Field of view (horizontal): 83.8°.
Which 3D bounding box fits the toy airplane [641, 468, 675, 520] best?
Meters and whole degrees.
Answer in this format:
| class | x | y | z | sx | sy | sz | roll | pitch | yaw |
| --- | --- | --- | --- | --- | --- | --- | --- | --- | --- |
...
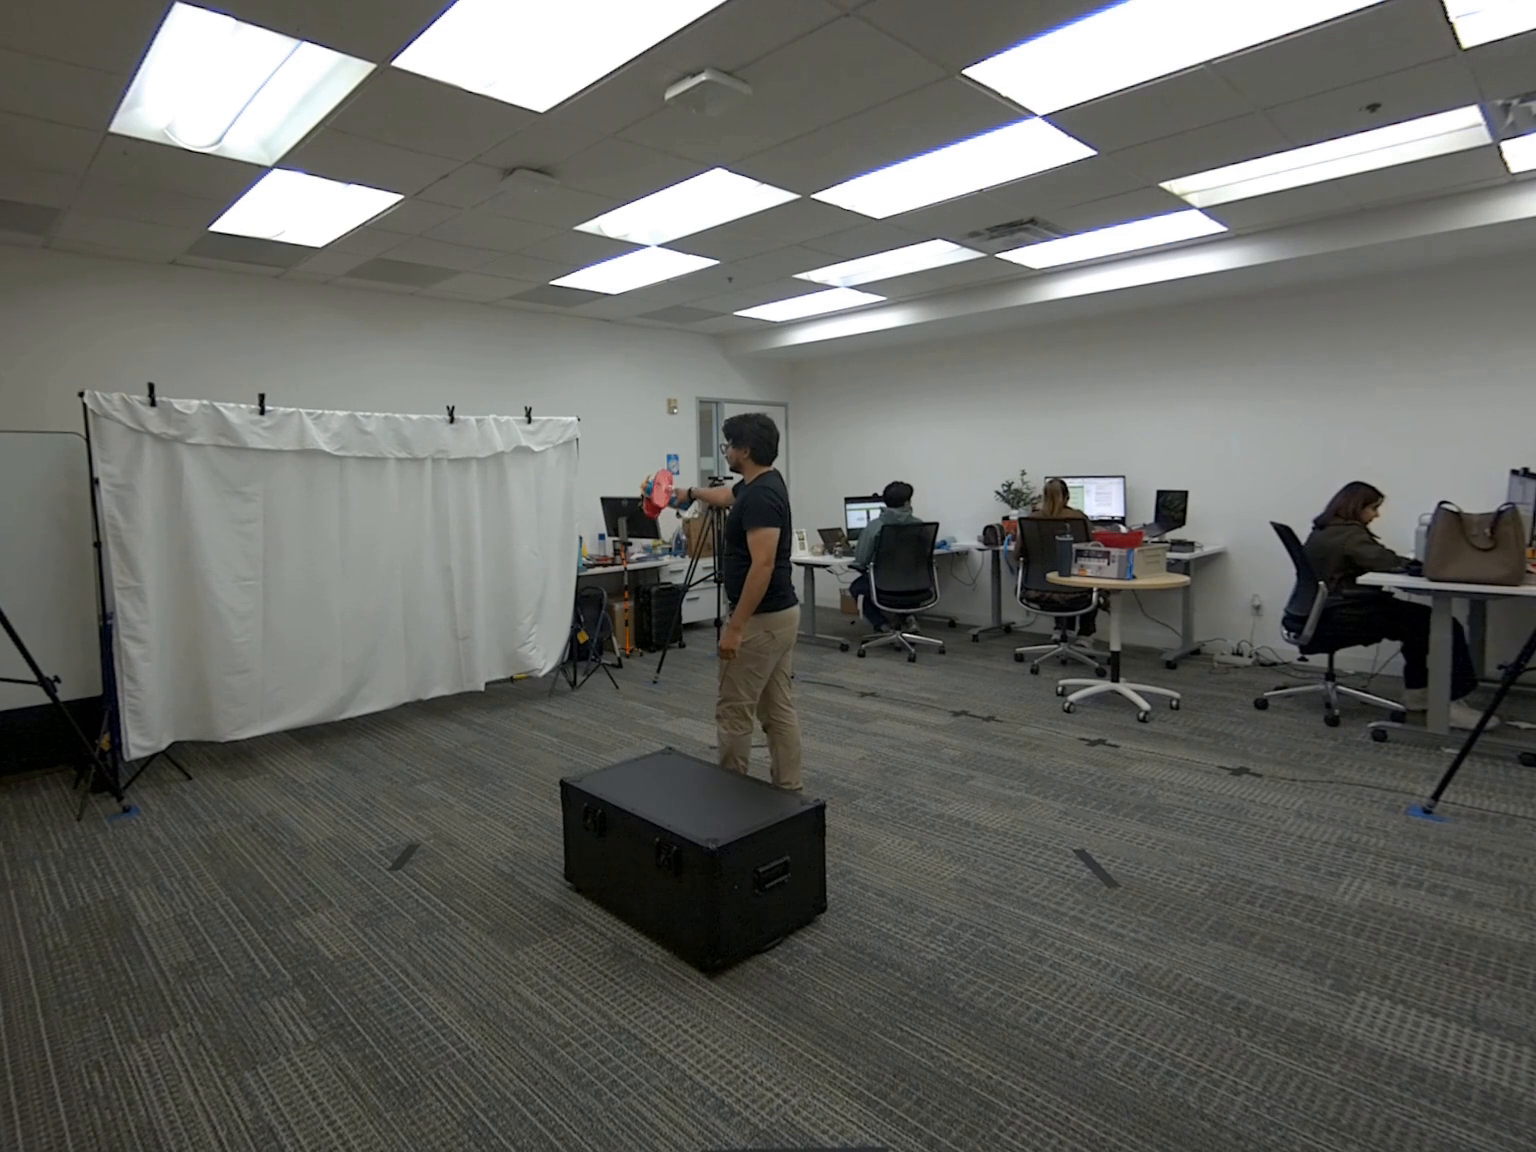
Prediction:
| class | x | y | z | sx | sy | sz | roll | pitch | yaw |
| --- | --- | --- | --- | --- | --- | --- | --- | --- | --- |
| toy airplane | -0.497 | -0.380 | 4.076 | 0.254 | 0.259 | 0.154 | -6 | -36 | -28 |
